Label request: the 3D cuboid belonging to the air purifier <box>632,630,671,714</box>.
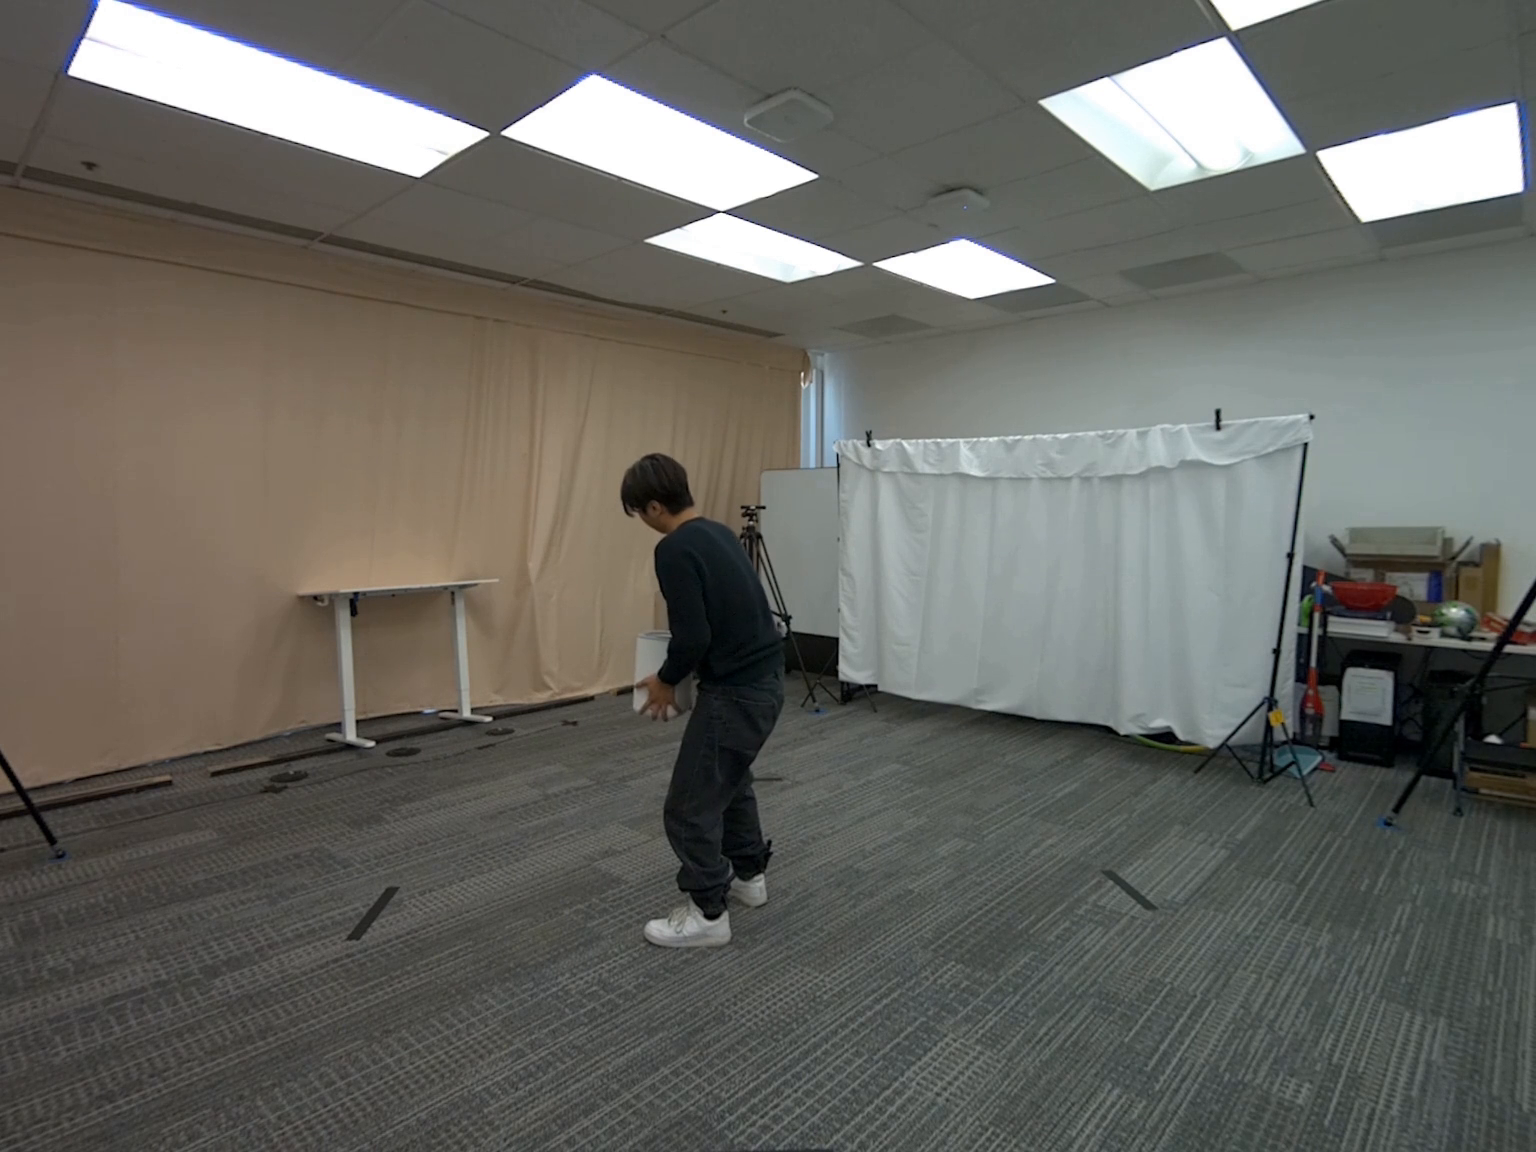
[{"bbox_3d":[-0.347,0.338,2.809,0.172,0.265,0.171,4,3,4],"label":"air purifier"}]
